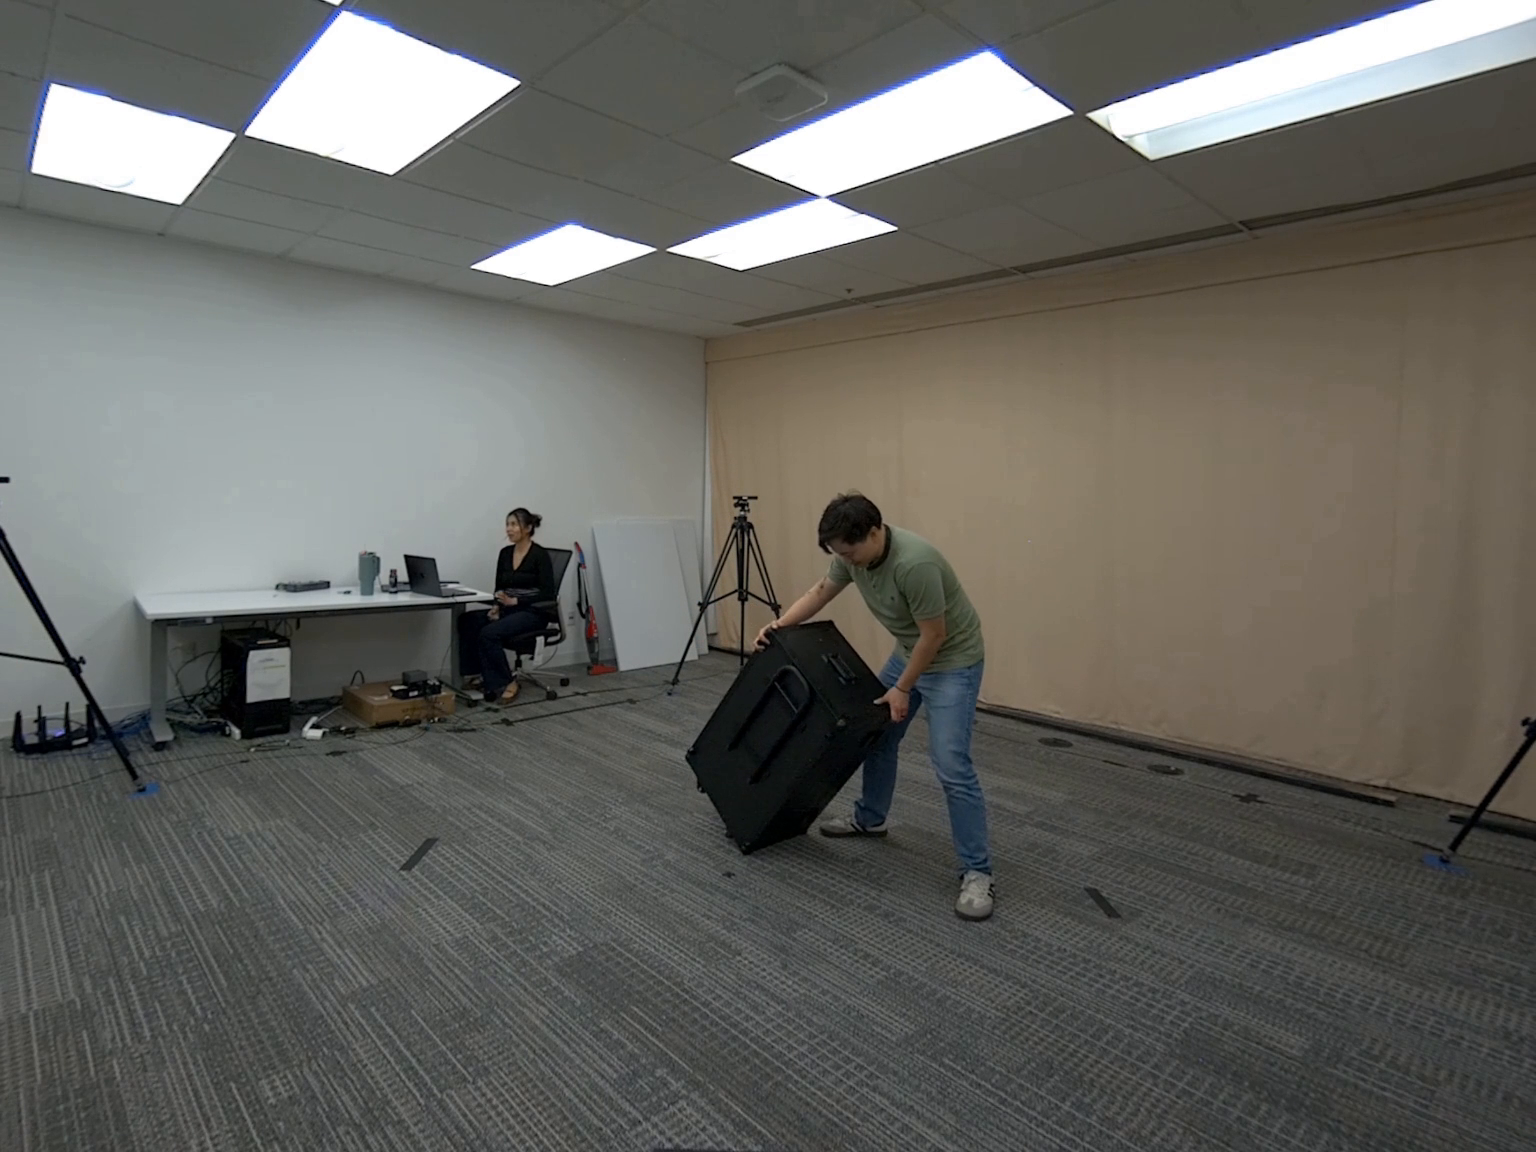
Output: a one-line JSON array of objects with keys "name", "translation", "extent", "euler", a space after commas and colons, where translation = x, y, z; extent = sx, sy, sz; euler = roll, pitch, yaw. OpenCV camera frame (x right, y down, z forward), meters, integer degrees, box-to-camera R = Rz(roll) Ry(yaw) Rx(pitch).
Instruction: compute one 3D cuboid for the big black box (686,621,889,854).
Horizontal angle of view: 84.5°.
[{"name": "big black box", "translation": [0.052, 0.661, 3.334], "extent": [0.387, 0.856, 0.536], "euler": [-2, 44, -43]}]
